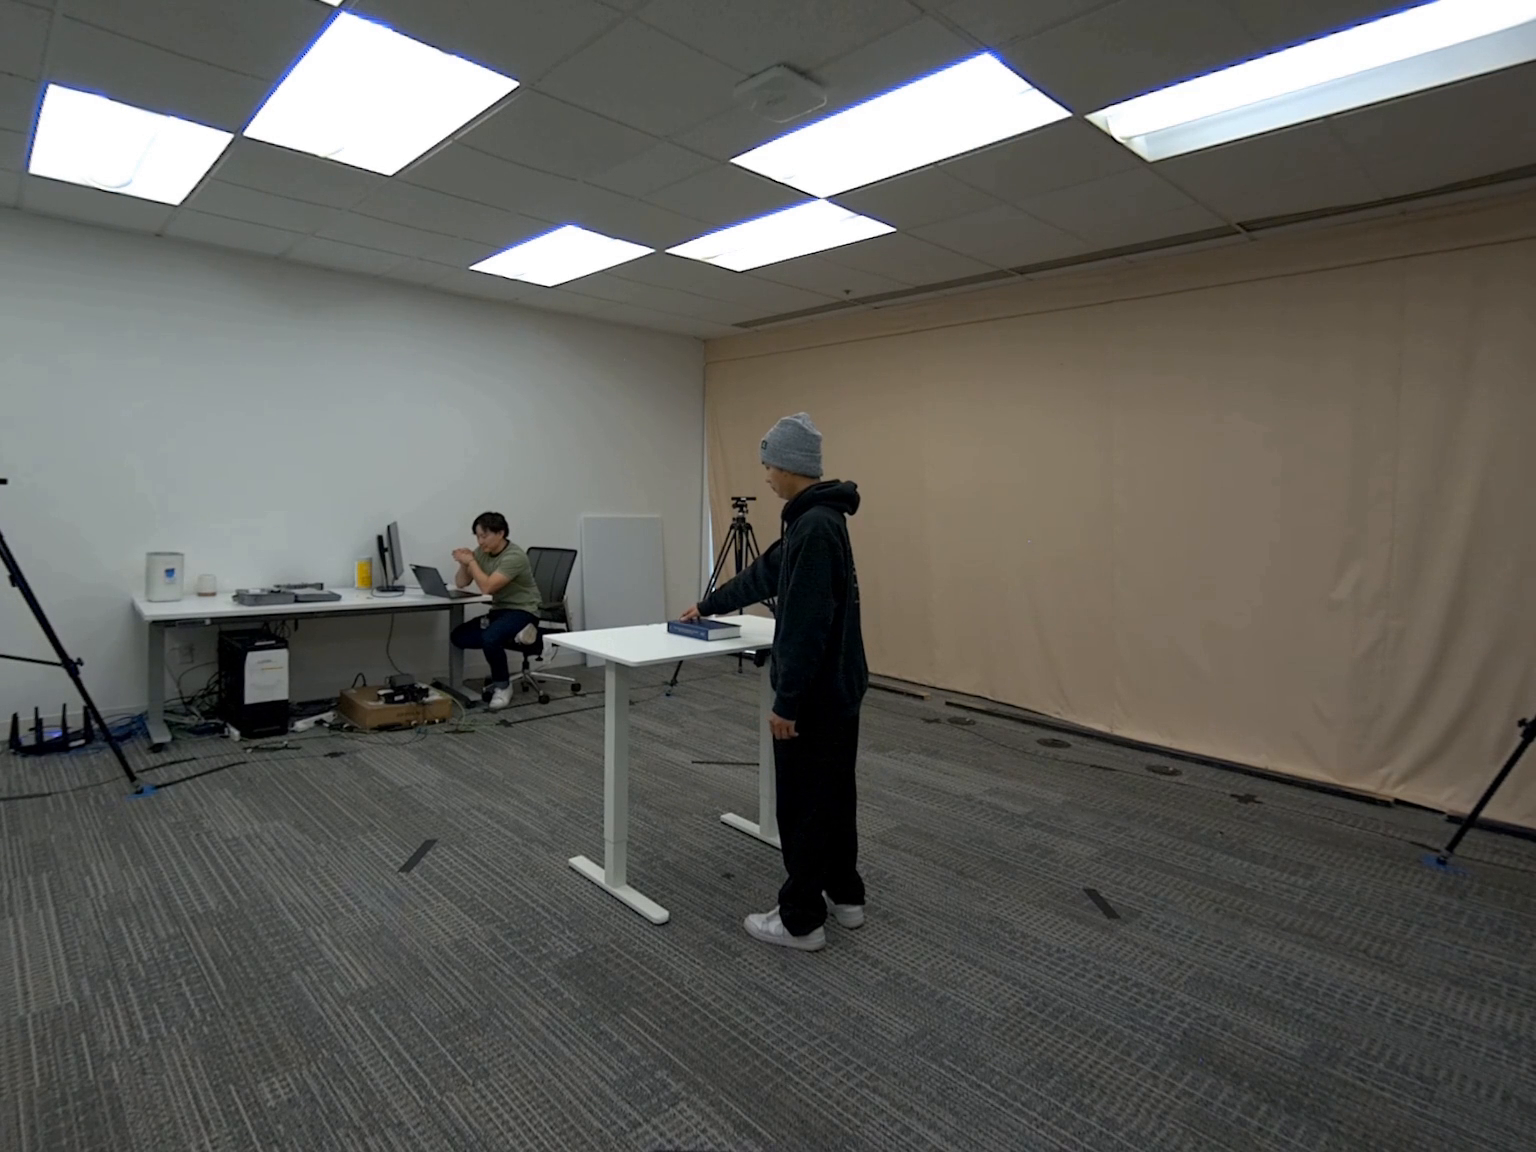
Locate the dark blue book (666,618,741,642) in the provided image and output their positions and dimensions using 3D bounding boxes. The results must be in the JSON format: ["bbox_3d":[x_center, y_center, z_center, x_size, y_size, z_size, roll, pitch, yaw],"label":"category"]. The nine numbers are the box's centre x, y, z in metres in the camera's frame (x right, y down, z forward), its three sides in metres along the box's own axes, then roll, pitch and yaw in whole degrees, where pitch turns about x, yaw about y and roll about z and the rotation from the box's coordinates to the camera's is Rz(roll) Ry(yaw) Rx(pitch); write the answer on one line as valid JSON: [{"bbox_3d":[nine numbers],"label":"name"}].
[{"bbox_3d":[-0.248,0.203,3.125,0.160,0.045,0.251,-4,6,-43],"label":"dark blue book"}]
